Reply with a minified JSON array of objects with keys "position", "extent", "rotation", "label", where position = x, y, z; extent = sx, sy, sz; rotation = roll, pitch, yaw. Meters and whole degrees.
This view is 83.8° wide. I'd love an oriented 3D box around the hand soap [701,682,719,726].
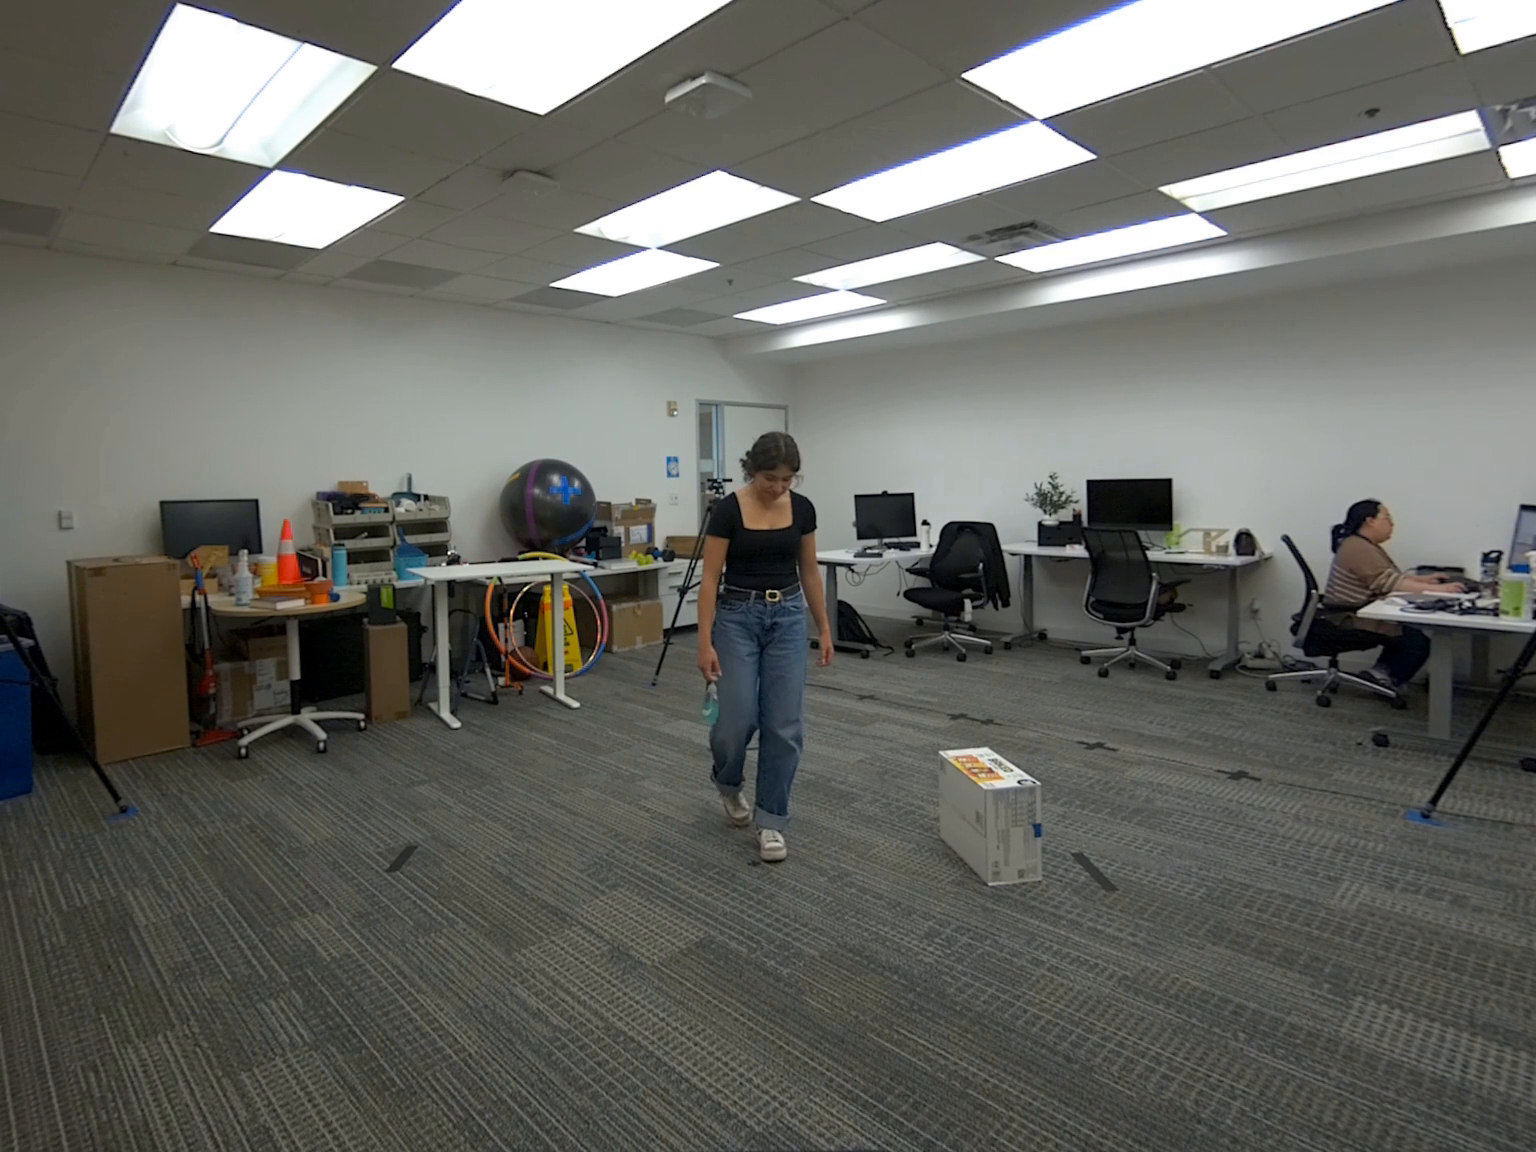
[{"position":[-0.214,0.451,3.090],"extent":[0.042,0.168,0.087],"rotation":[6,4,-25],"label":"hand soap"}]
